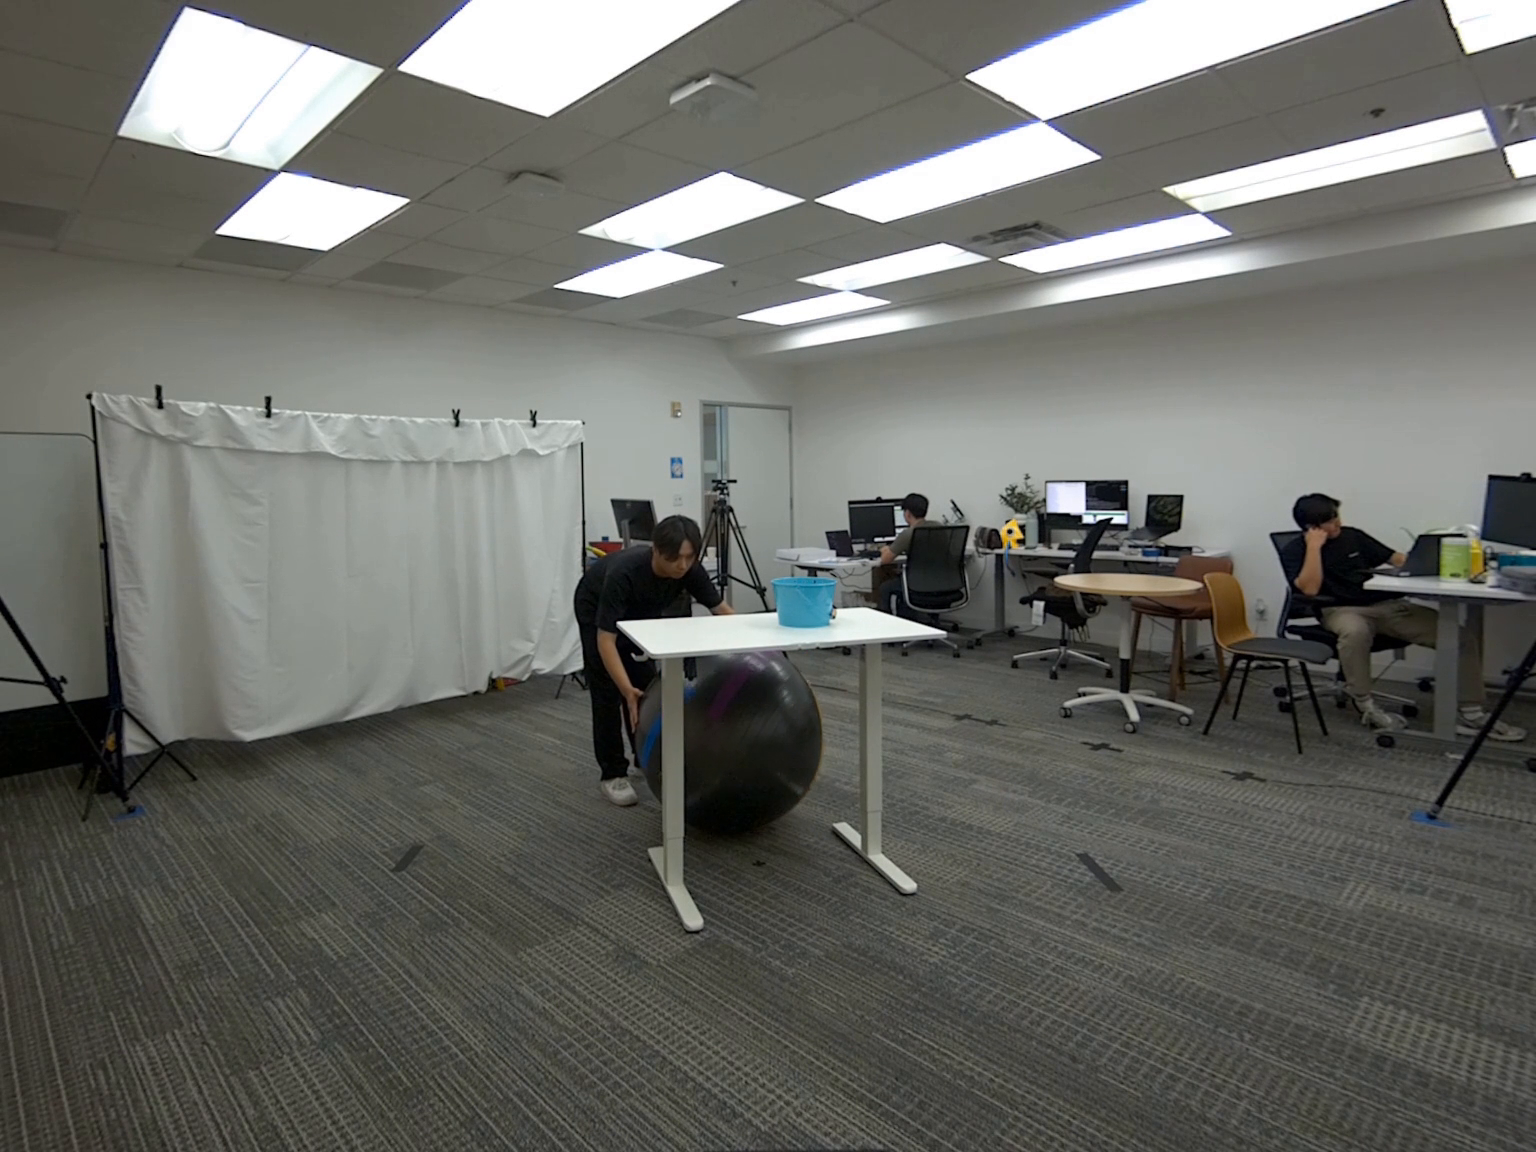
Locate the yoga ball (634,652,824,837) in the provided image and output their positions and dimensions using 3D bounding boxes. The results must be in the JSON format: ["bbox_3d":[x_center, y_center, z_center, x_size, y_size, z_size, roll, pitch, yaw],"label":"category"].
[{"bbox_3d":[-0.163,0.645,3.453,0.757,0.755,0.762,-1,5,-2],"label":"yoga ball"}]
